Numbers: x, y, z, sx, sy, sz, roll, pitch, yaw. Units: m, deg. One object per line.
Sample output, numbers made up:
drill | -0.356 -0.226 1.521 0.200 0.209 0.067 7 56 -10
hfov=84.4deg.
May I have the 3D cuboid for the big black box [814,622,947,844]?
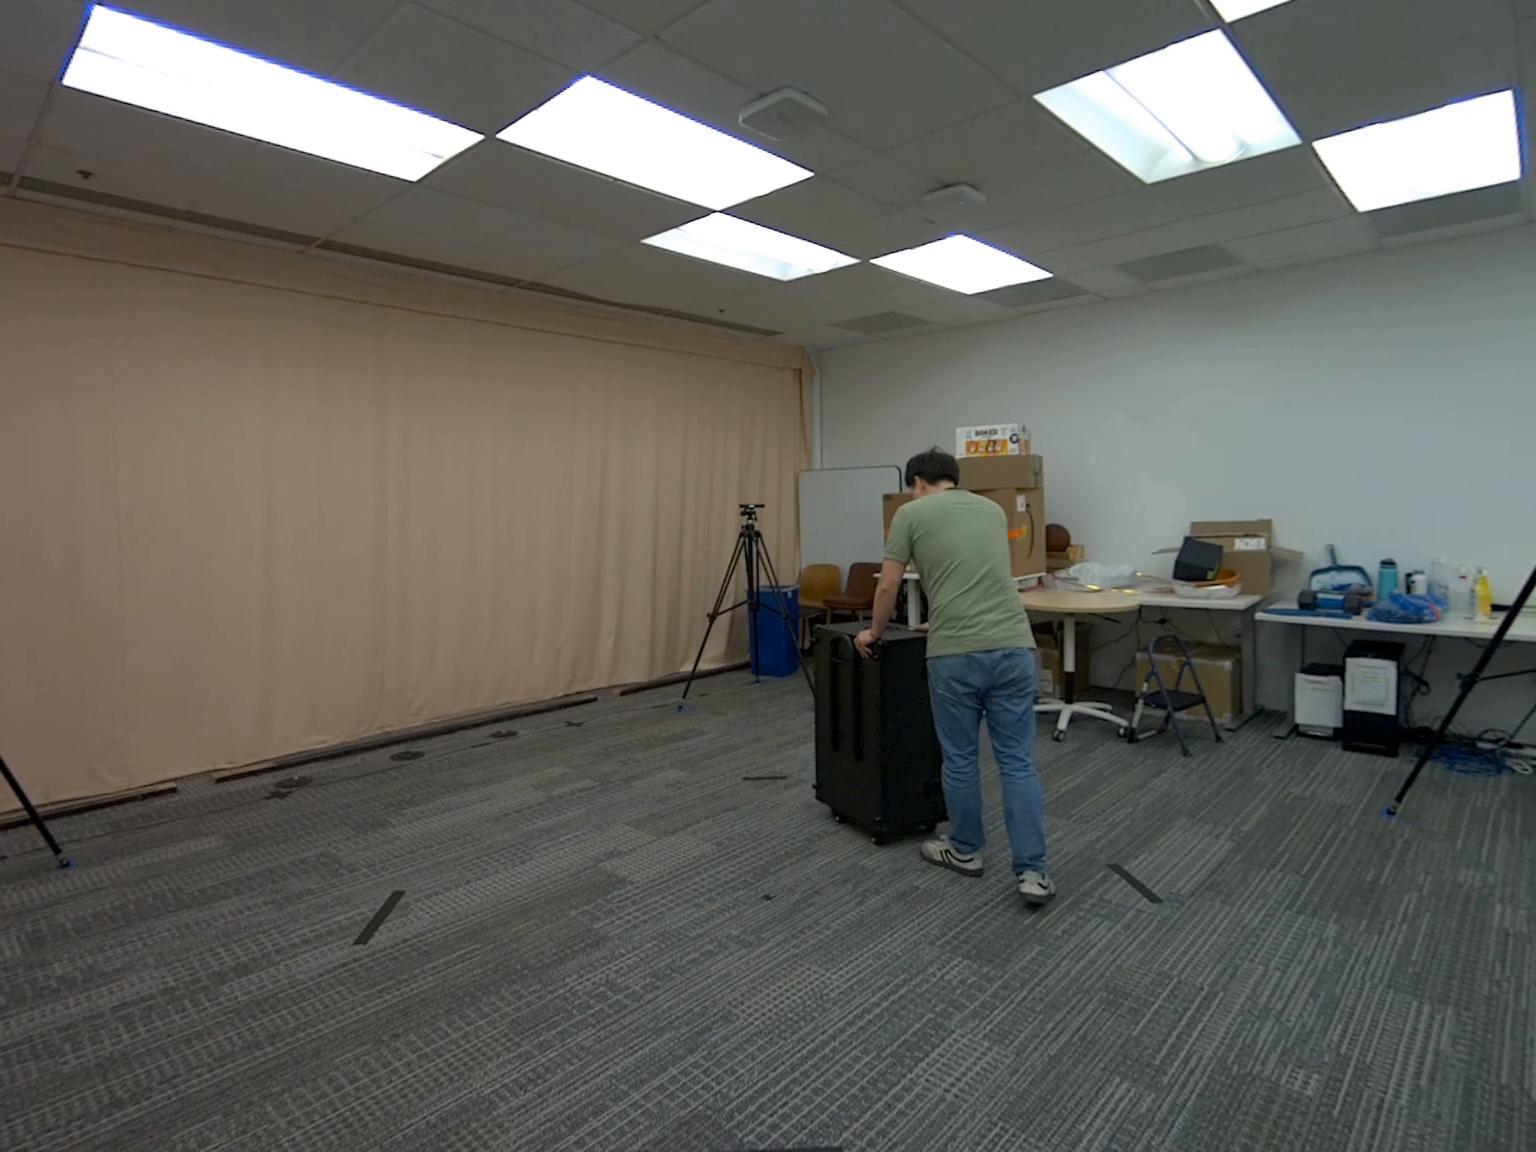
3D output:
big black box | 0.475 0.655 3.609 0.386 0.859 0.536 -4 4 -29
